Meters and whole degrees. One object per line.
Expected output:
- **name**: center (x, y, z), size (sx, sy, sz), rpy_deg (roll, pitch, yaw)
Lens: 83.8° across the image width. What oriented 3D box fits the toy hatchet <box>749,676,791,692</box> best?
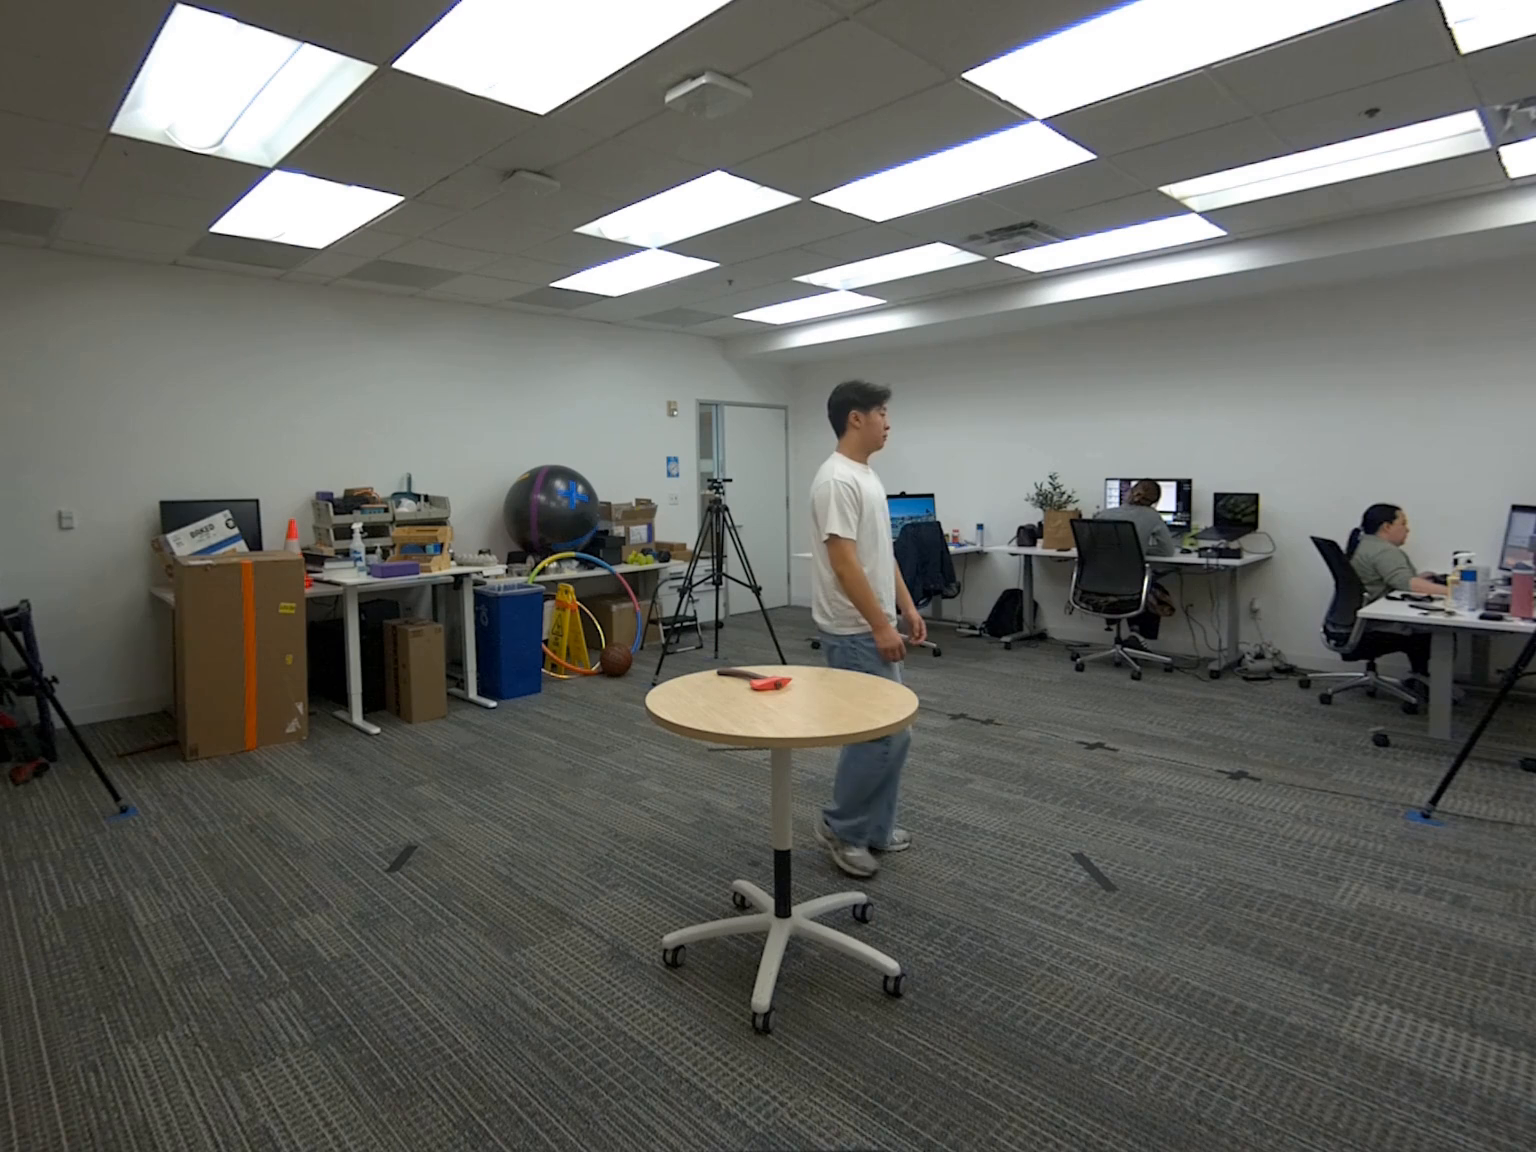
- **toy hatchet**: center (-0.060, 0.314, 2.572), size (0.278, 0.029, 0.128), rpy_deg (2, 11, 37)
